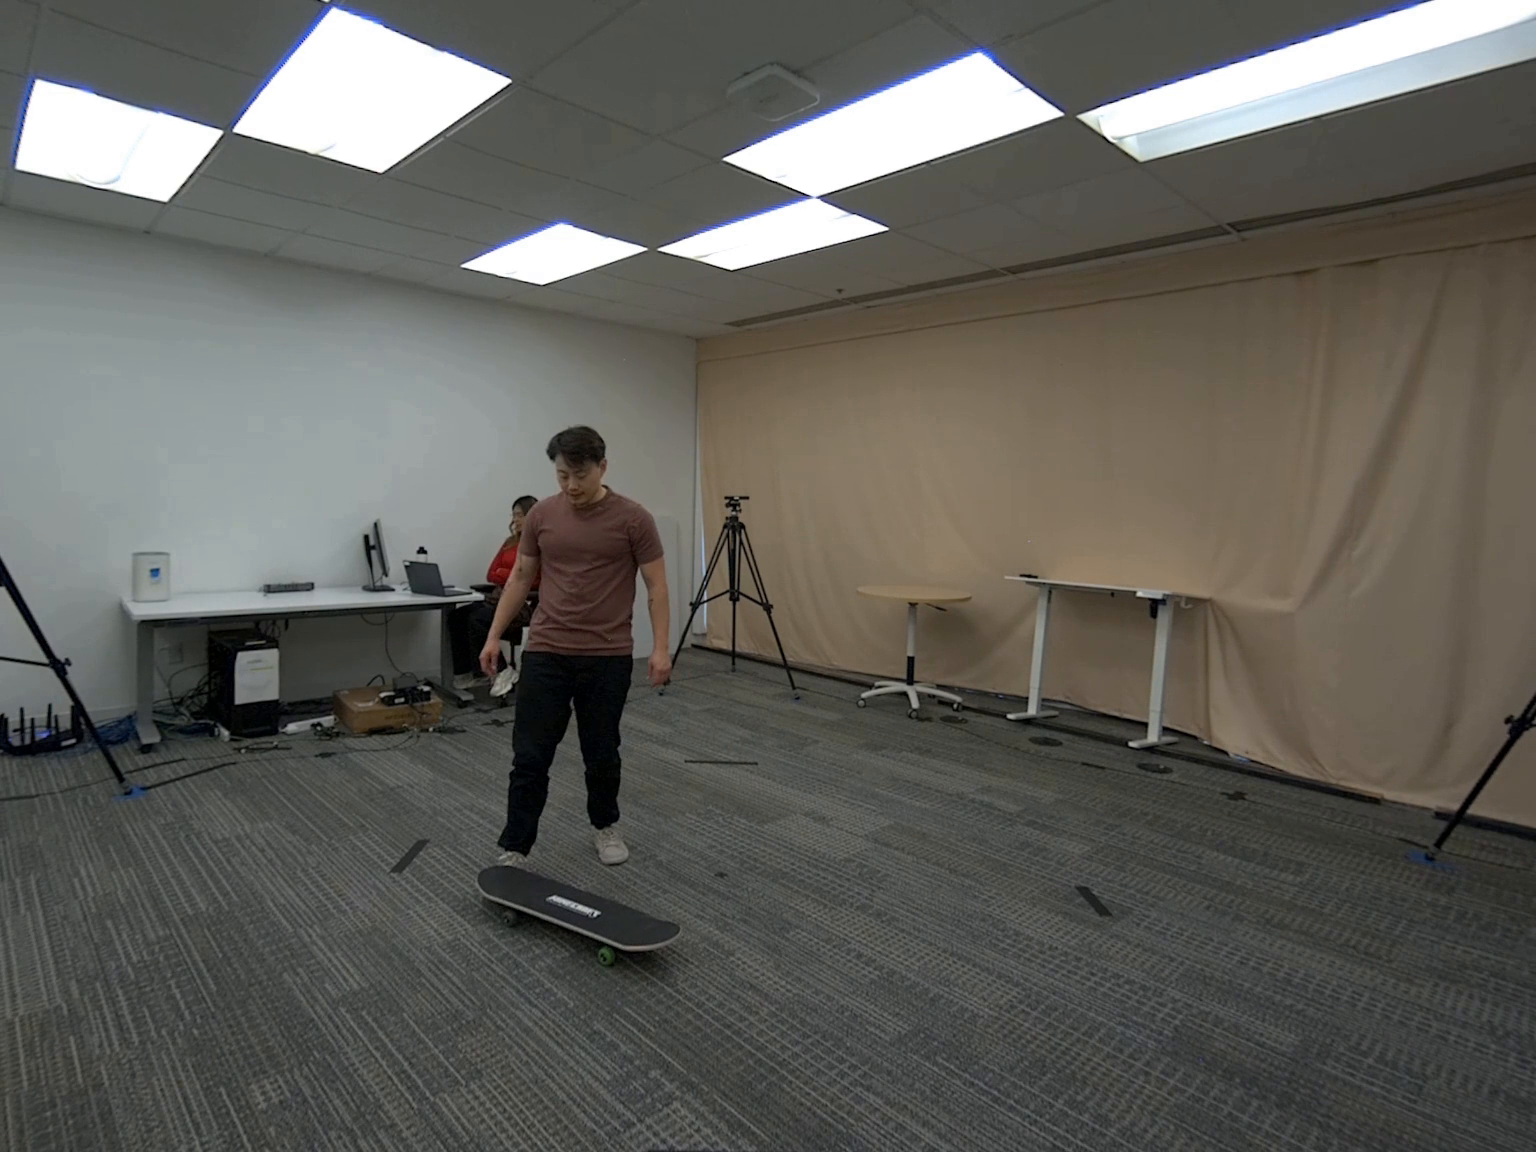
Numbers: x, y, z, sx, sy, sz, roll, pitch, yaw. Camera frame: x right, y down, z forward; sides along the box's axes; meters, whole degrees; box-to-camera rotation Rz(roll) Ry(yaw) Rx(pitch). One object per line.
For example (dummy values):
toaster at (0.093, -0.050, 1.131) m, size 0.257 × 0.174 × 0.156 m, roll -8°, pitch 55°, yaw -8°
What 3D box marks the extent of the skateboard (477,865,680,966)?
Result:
skateboard at (-0.626, 1.077, 2.661) m, size 0.803 × 0.110 × 0.190 m, roll 4°, pitch 5°, yaw 30°
